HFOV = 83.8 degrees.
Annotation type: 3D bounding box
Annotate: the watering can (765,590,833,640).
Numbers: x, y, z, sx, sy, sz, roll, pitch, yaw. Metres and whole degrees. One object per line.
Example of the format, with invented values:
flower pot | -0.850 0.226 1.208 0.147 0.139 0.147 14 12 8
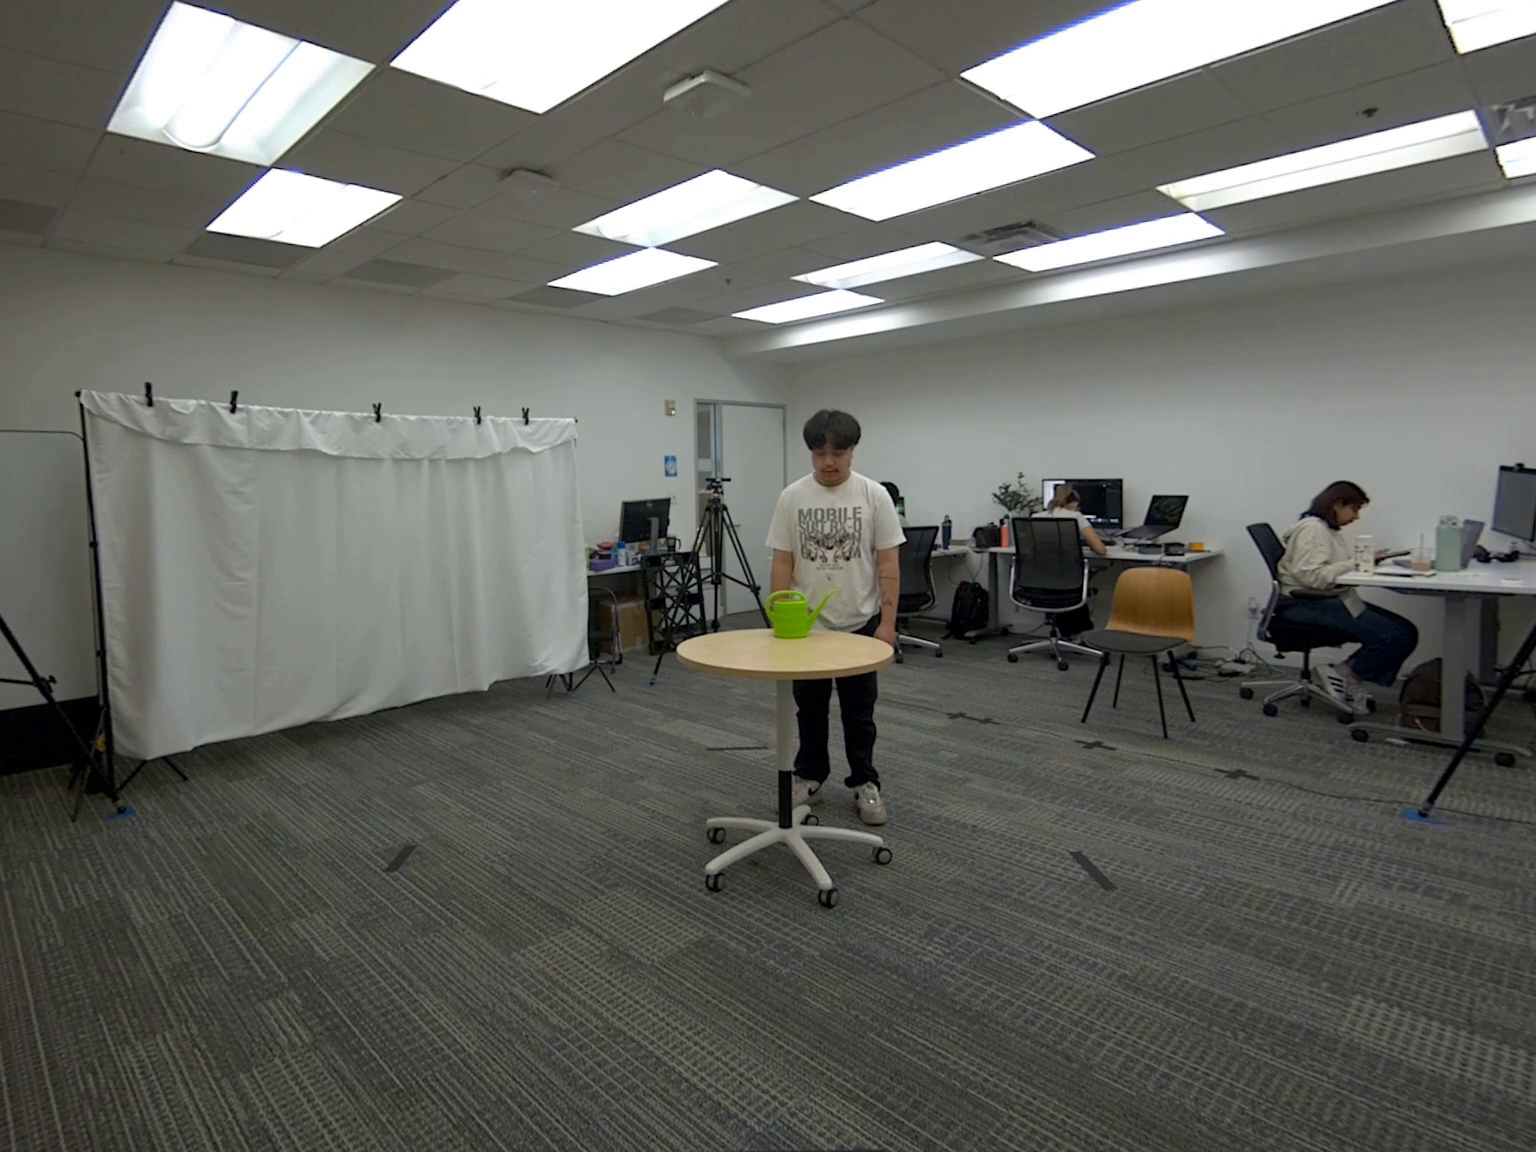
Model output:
watering can | 0.136 0.148 3.246 0.281 0.176 0.097 -2 3 10
